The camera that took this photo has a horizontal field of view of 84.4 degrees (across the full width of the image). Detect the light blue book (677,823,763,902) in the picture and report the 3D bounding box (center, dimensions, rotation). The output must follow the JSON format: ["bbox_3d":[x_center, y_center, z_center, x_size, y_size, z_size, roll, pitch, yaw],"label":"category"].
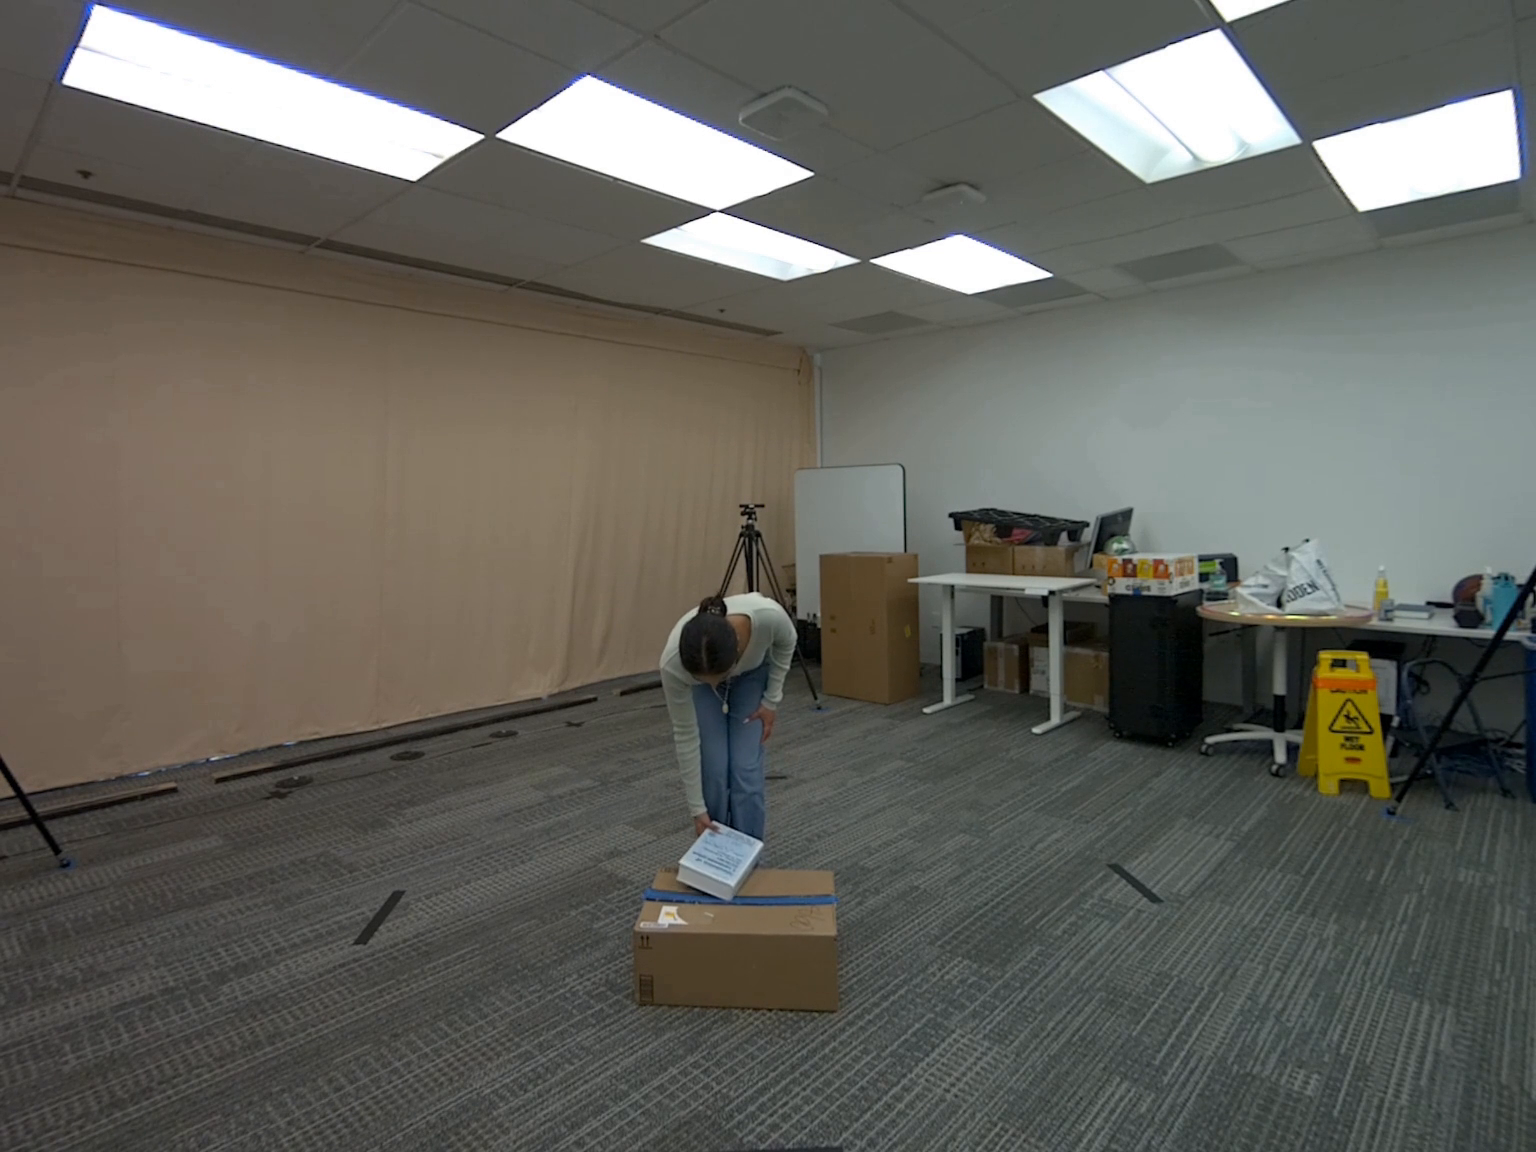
[{"bbox_3d":[-0.134,0.897,2.664,0.196,0.058,0.257,15,17,19],"label":"light blue book"}]
